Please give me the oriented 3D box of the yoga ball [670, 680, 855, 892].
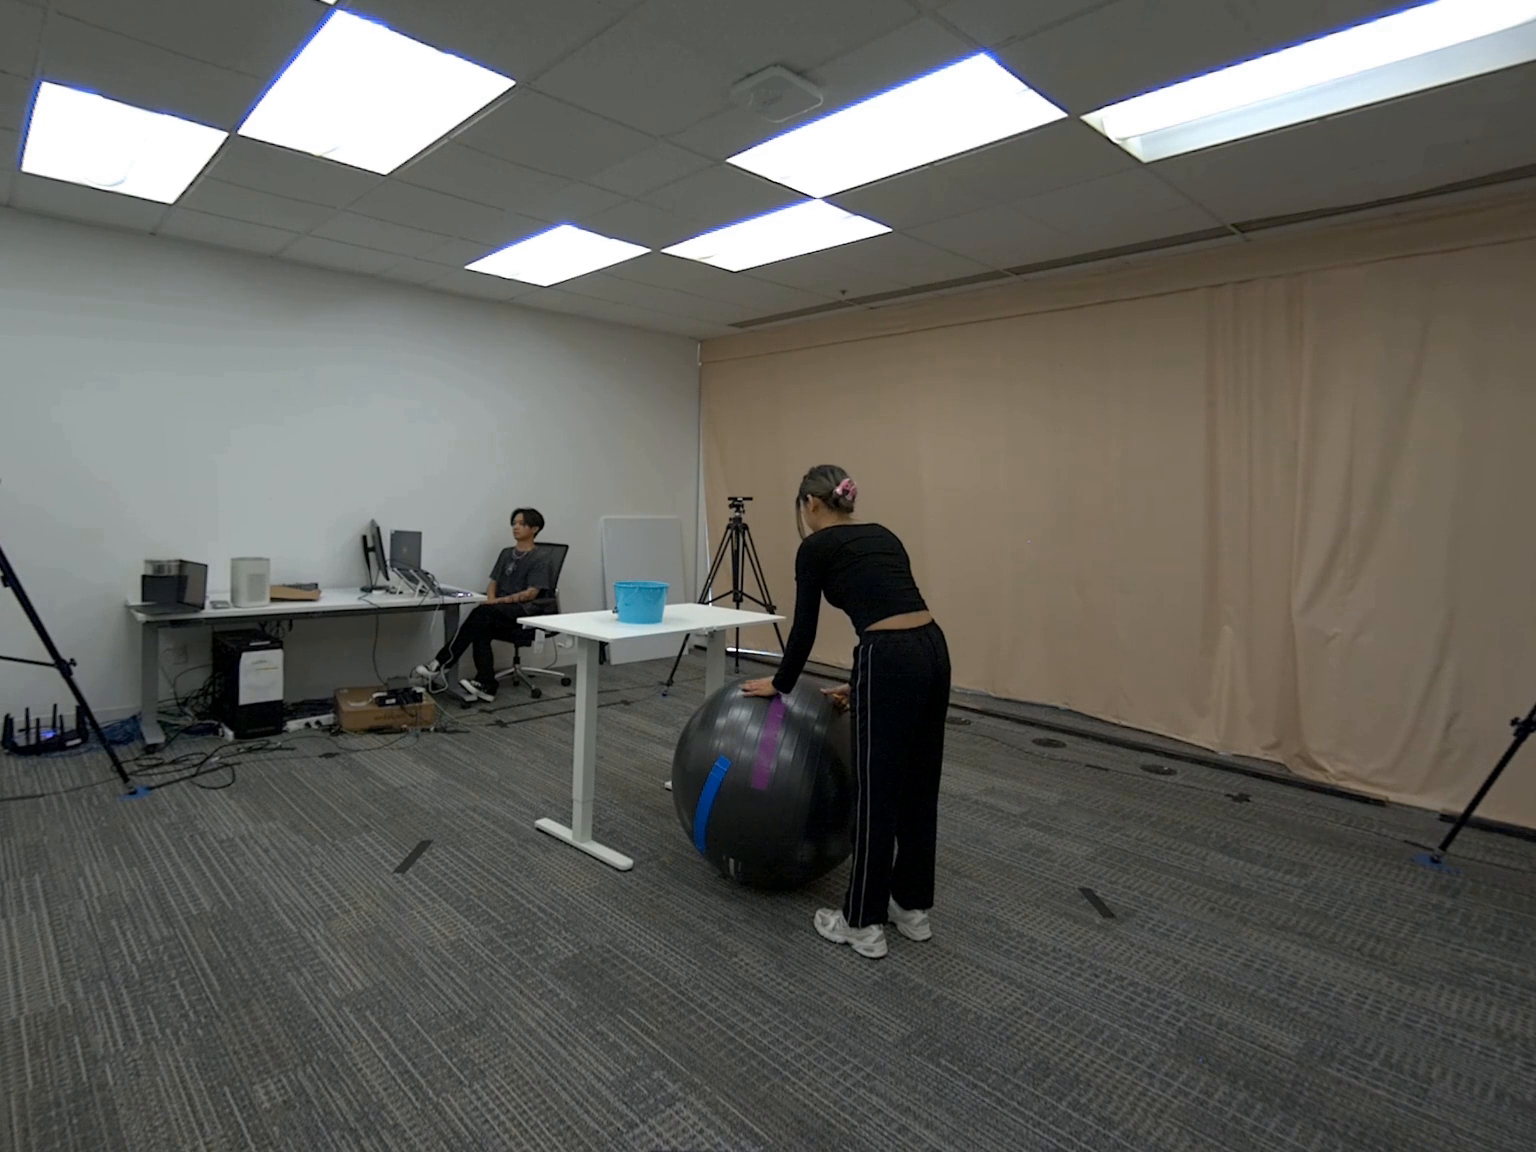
[{"bbox_3d":[0.020,0.741,3.099,0.757,0.756,0.760,1,4,-1],"label":"yoga ball"}]
